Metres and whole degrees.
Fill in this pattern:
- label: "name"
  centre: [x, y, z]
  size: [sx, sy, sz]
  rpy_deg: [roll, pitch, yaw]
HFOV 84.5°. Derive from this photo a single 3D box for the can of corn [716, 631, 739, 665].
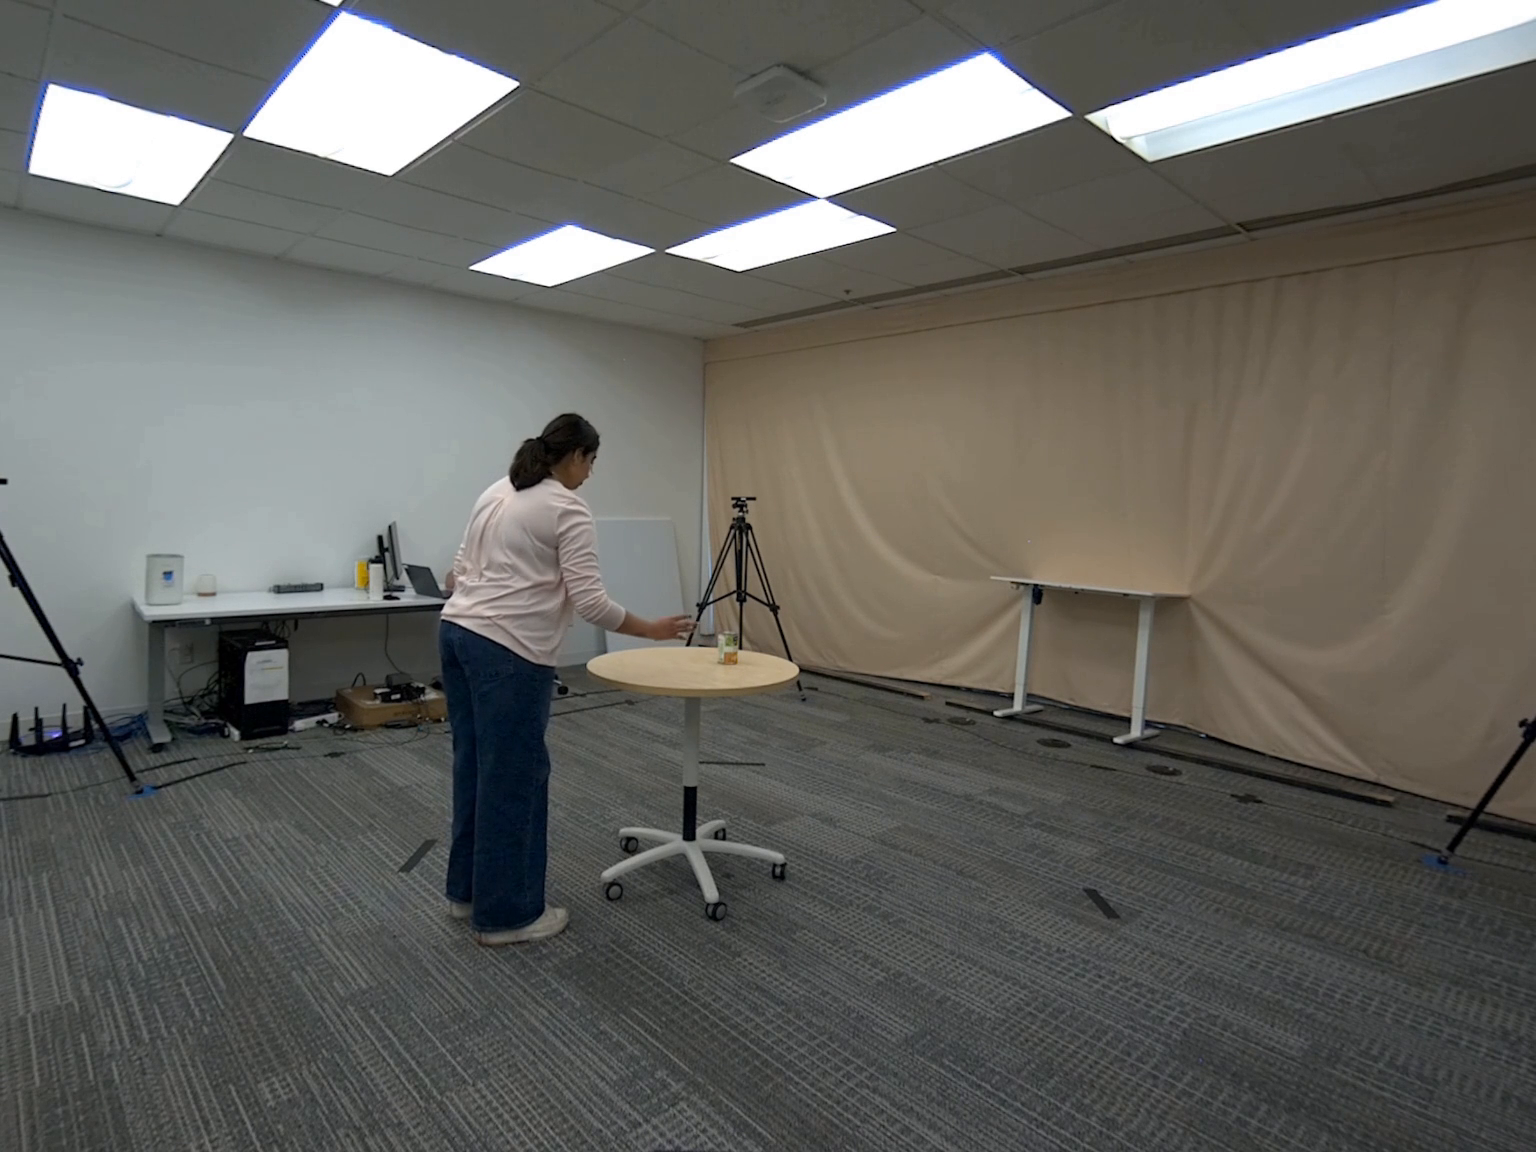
- label: "can of corn"
  centre: [-0.154, 0.269, 3.114]
  size: [0.074, 0.111, 0.074]
  rpy_deg: [0, 3, -1]
